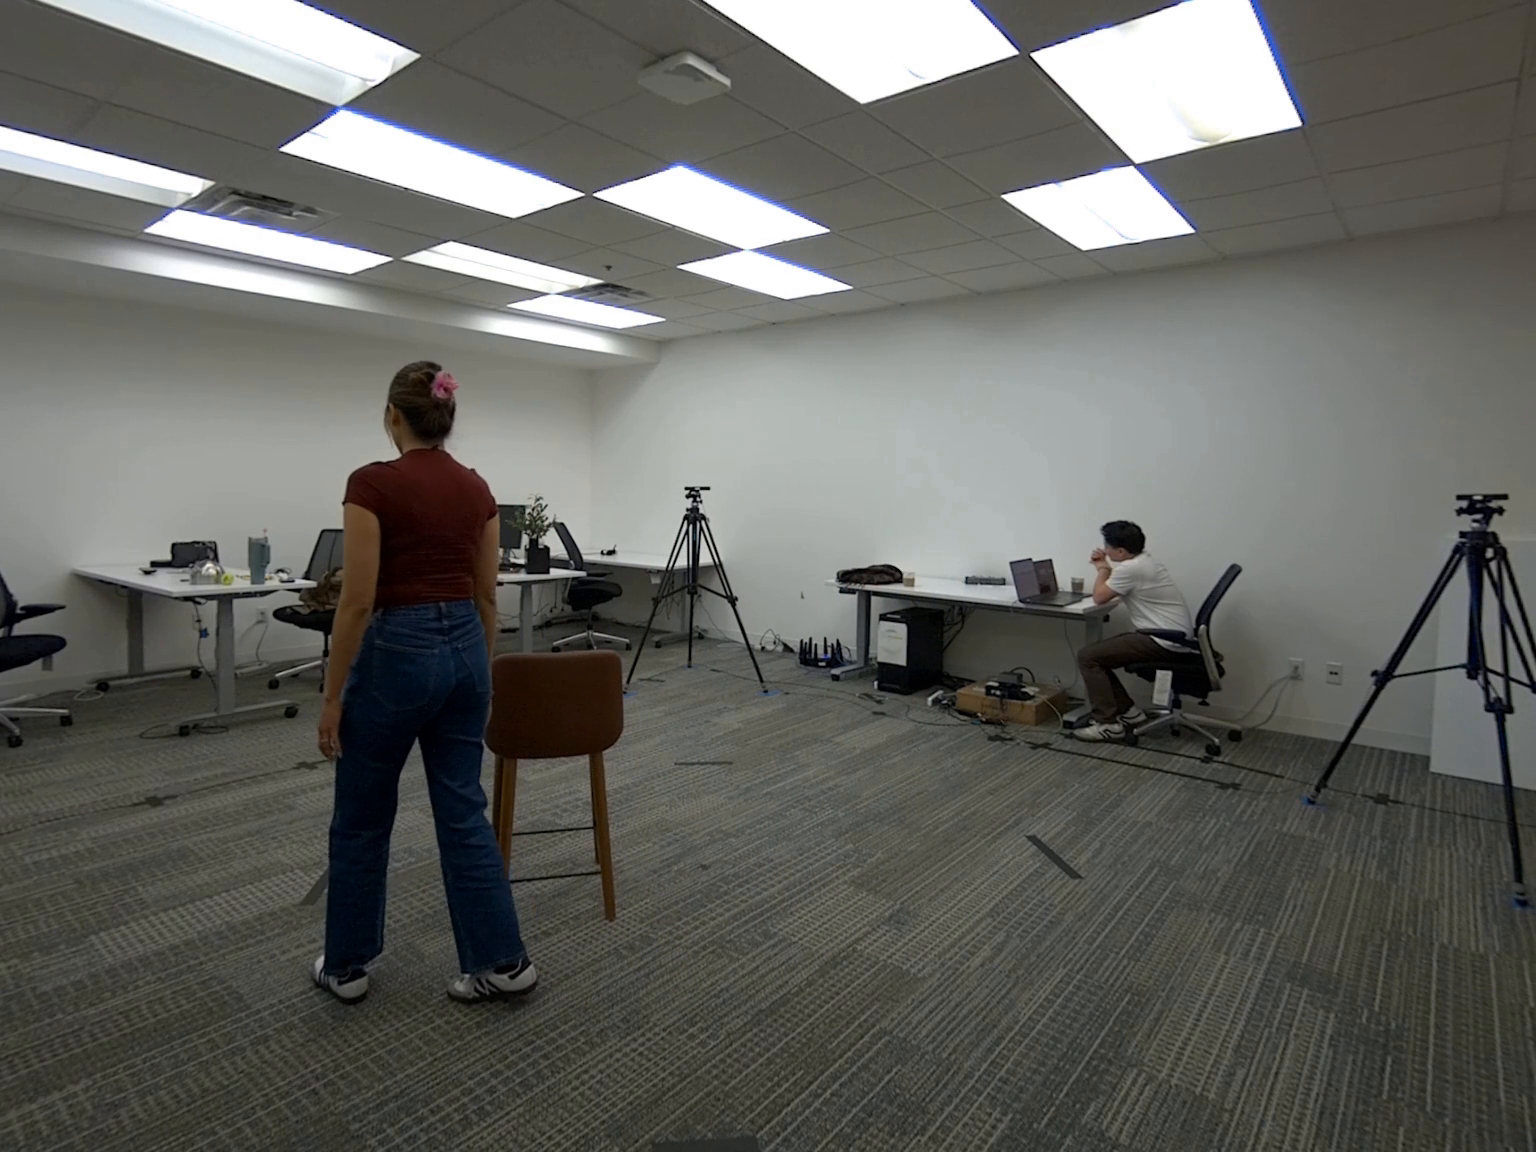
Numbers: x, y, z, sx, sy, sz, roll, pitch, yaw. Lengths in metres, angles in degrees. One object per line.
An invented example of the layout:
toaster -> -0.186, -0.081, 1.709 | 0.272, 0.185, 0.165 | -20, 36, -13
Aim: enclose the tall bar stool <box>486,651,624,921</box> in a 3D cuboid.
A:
tall bar stool -> -0.740, 0.651, 2.861 | 0.449, 0.885, 0.478 | -1, 5, -17
